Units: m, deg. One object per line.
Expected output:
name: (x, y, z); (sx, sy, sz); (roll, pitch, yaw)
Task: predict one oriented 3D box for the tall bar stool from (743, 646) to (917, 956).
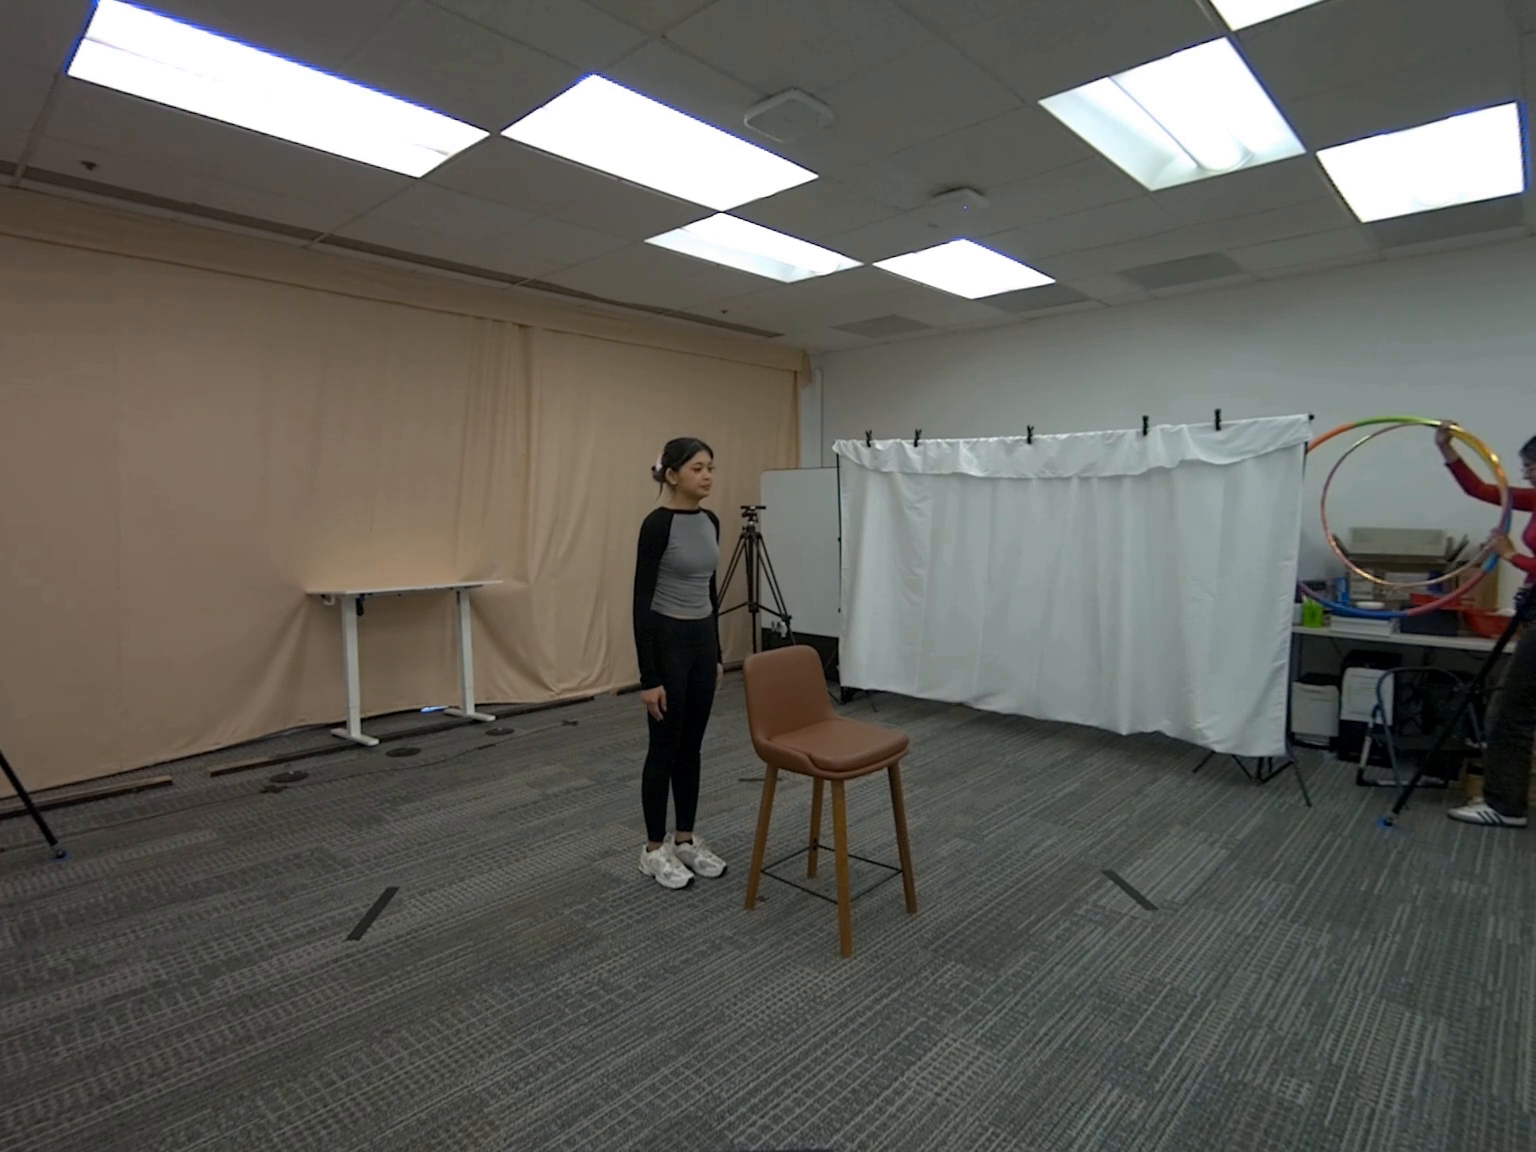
tall bar stool: (0.205, 0.716, 2.869); (0.483, 0.888, 0.442); (1, 3, 44)
